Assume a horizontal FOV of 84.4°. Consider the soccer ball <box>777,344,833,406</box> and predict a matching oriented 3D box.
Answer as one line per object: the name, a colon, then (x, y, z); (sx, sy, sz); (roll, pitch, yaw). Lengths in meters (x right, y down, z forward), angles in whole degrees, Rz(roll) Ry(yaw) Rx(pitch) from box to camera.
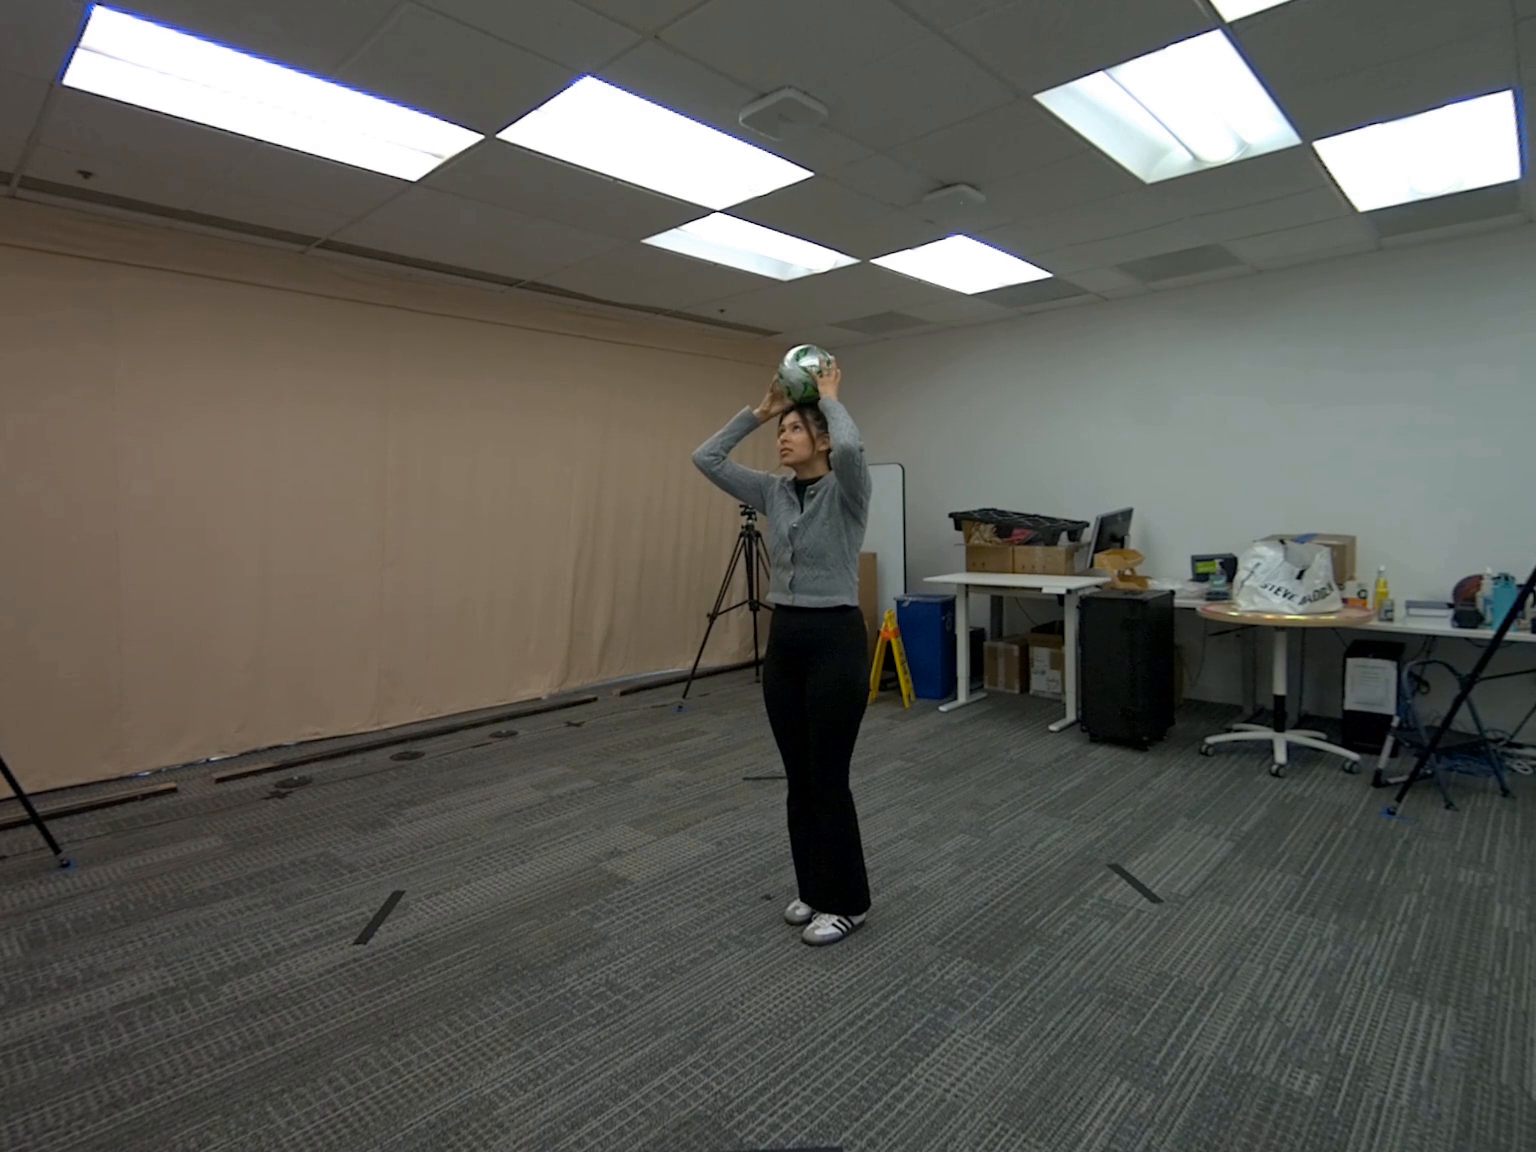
soccer ball: (0.133, -0.642, 2.694); (0.187, 0.187, 0.188); (-1, 4, -2)
